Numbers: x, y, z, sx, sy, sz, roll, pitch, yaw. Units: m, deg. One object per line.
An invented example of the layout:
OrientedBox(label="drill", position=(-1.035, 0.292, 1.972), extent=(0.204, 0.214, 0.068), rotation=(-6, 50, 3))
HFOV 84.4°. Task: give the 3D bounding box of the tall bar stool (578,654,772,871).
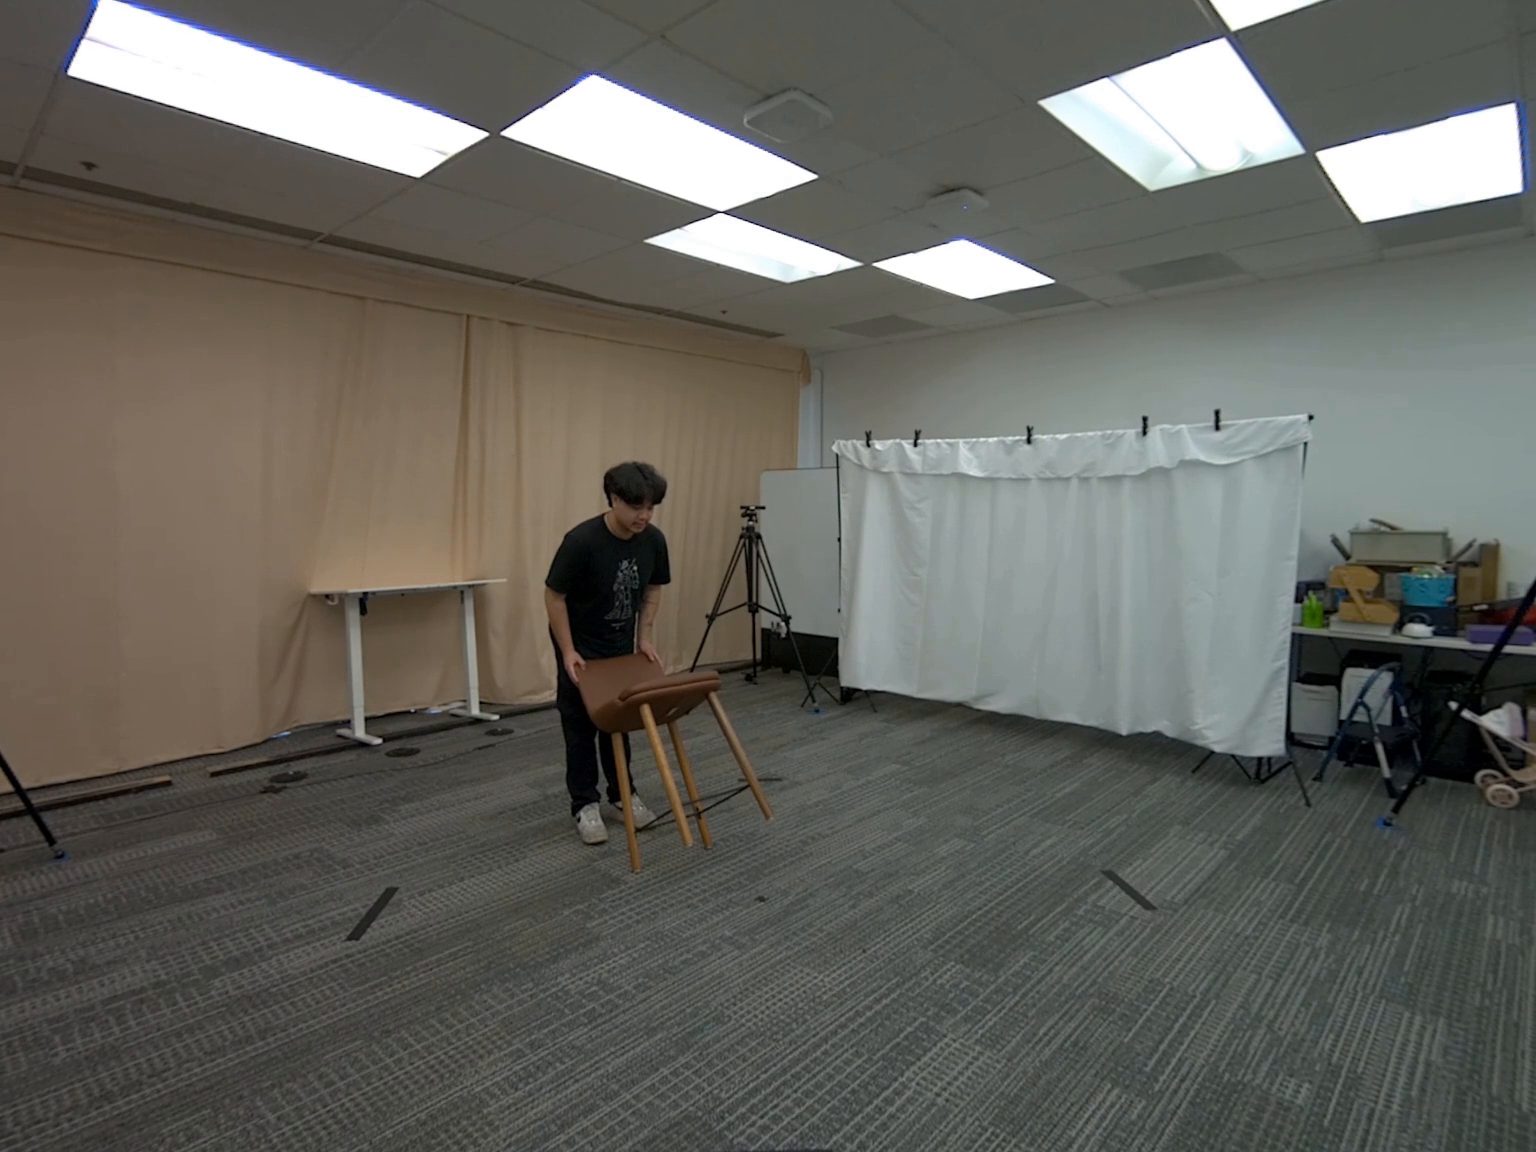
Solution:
OrientedBox(label="tall bar stool", position=(-0.404, 0.635, 3.331), extent=(0.443, 0.908, 0.472), rotation=(-4, -28, -39))
